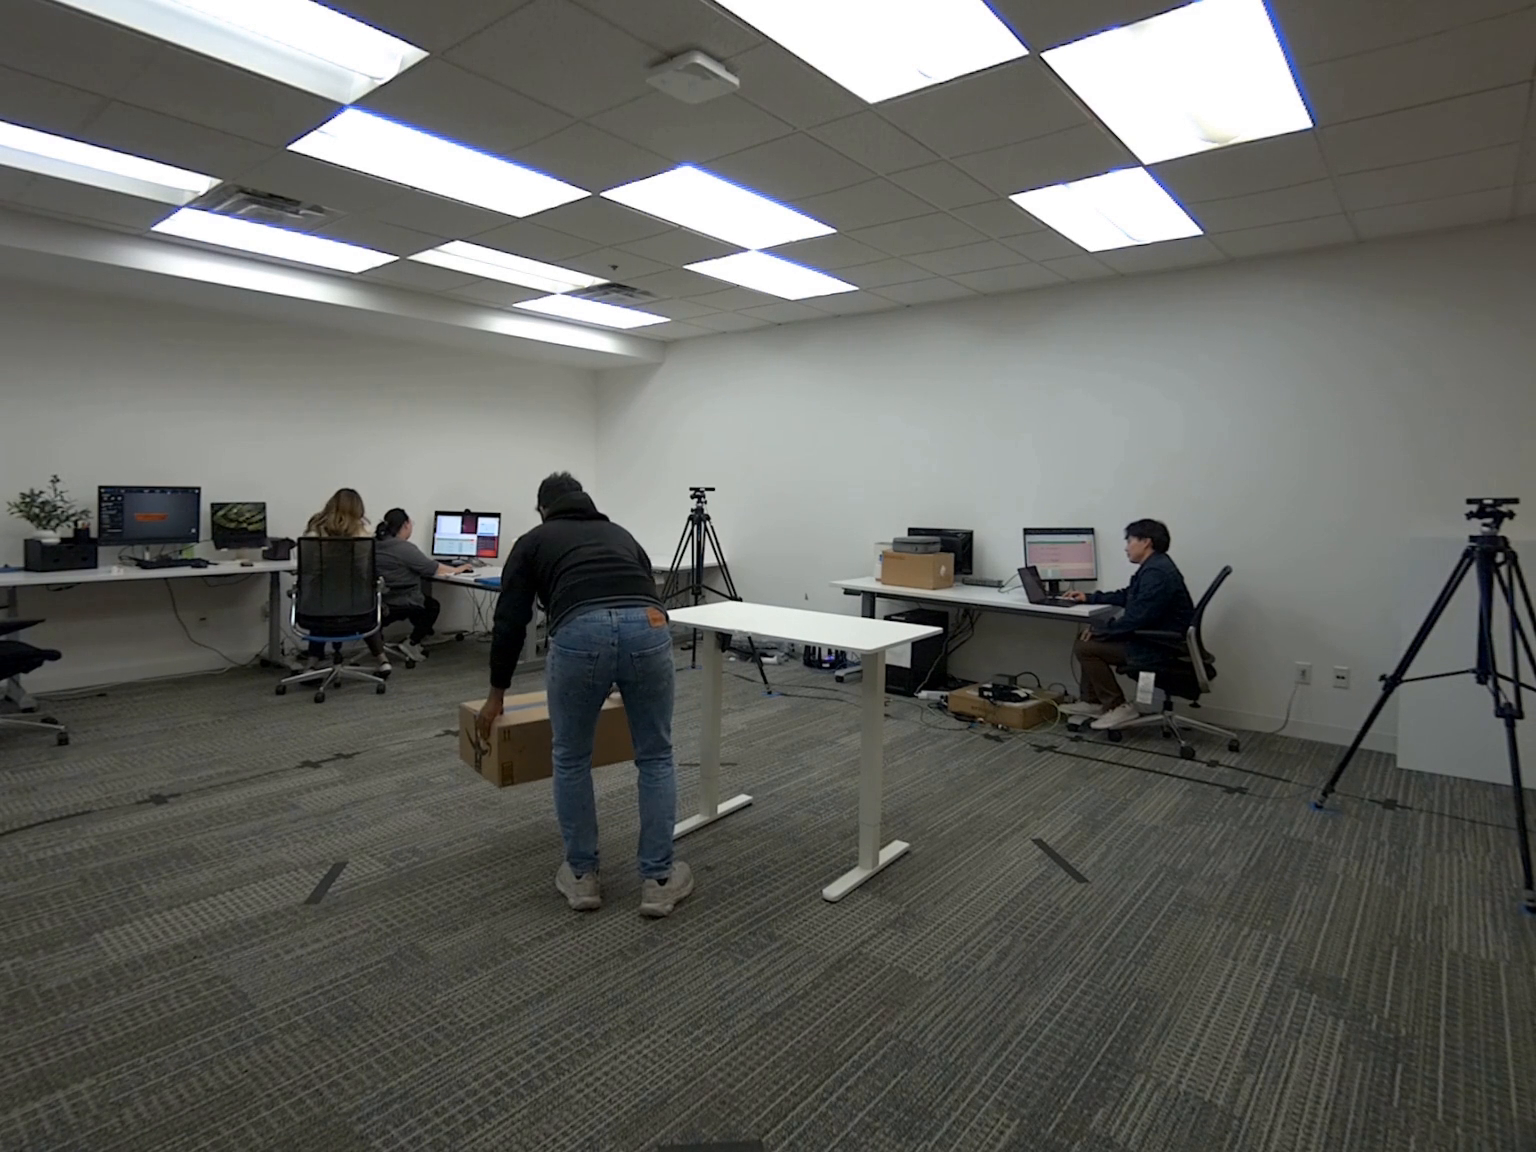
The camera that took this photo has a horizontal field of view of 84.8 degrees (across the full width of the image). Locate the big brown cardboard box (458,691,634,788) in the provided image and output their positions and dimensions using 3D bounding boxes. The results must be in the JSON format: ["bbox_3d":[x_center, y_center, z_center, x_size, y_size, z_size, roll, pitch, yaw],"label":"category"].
[{"bbox_3d":[-0.830,0.587,3.214,0.572,0.232,0.431,-6,6,-37],"label":"big brown cardboard box"}]
